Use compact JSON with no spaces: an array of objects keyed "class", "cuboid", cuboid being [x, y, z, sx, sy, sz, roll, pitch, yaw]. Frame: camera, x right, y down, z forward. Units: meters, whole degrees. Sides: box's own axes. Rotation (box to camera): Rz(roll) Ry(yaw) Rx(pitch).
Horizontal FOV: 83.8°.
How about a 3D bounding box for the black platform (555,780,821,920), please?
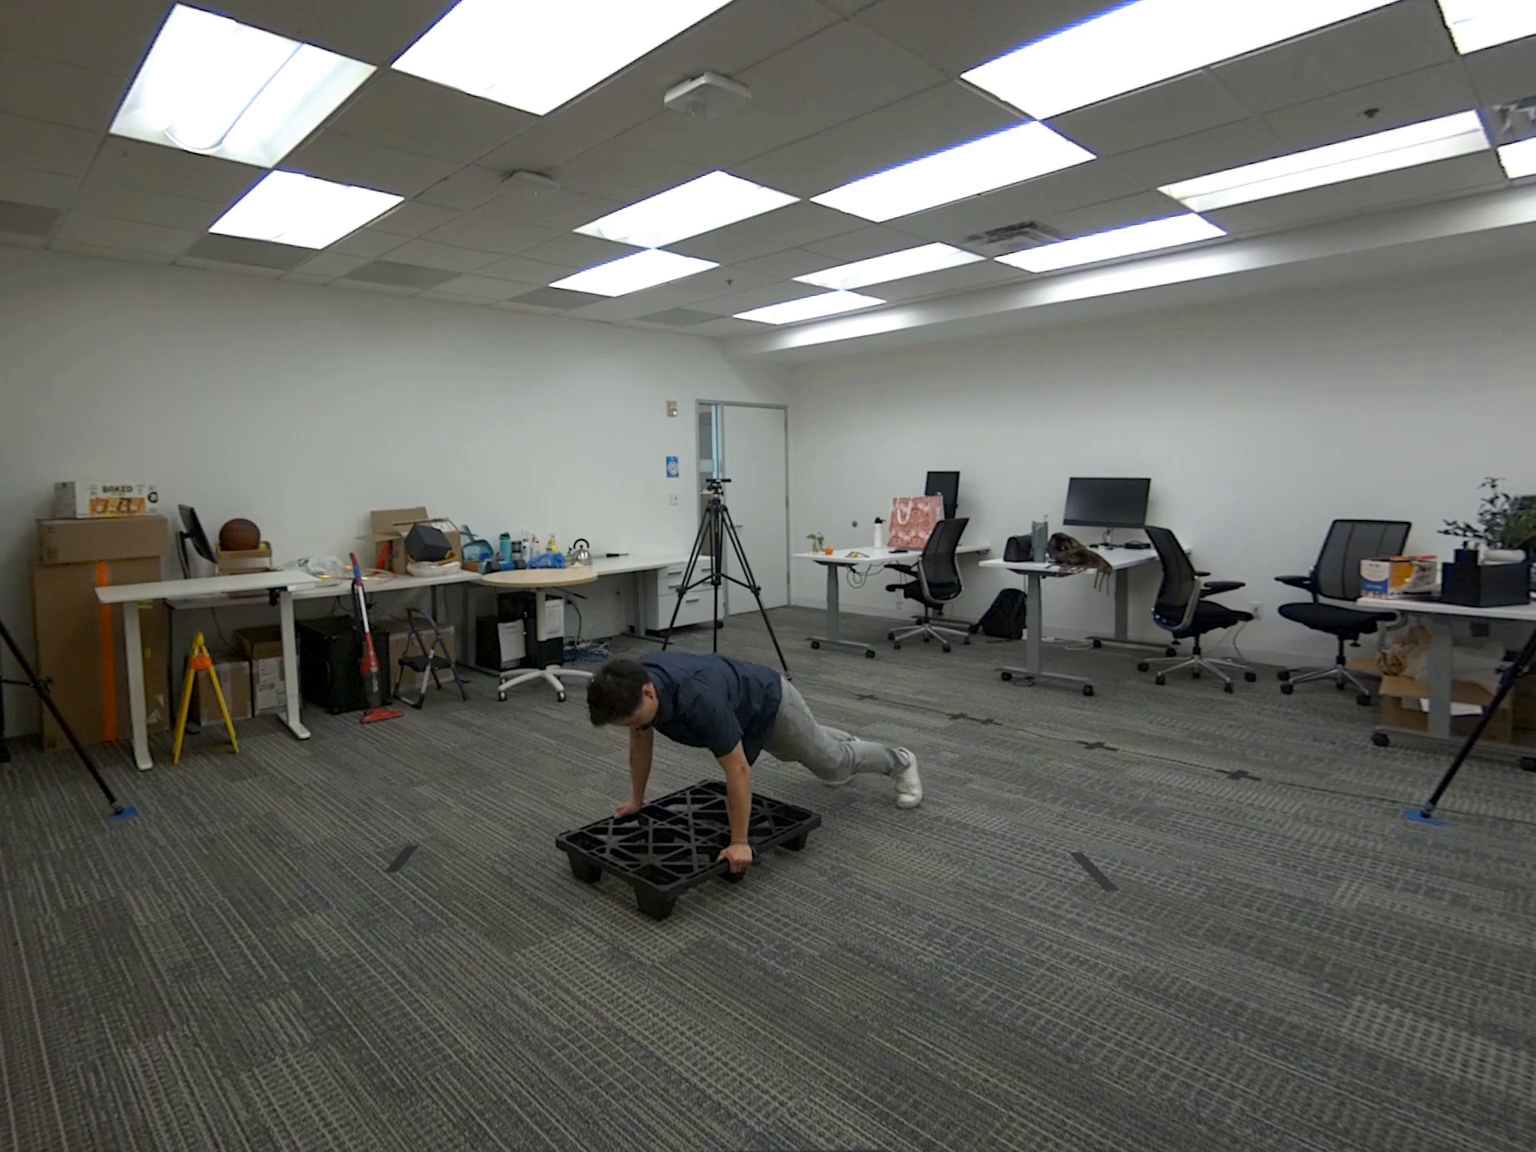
[{"class":"black platform","cuboid":[-0.282,0.980,3.127,0.624,0.142,0.785,5,9,43]}]
